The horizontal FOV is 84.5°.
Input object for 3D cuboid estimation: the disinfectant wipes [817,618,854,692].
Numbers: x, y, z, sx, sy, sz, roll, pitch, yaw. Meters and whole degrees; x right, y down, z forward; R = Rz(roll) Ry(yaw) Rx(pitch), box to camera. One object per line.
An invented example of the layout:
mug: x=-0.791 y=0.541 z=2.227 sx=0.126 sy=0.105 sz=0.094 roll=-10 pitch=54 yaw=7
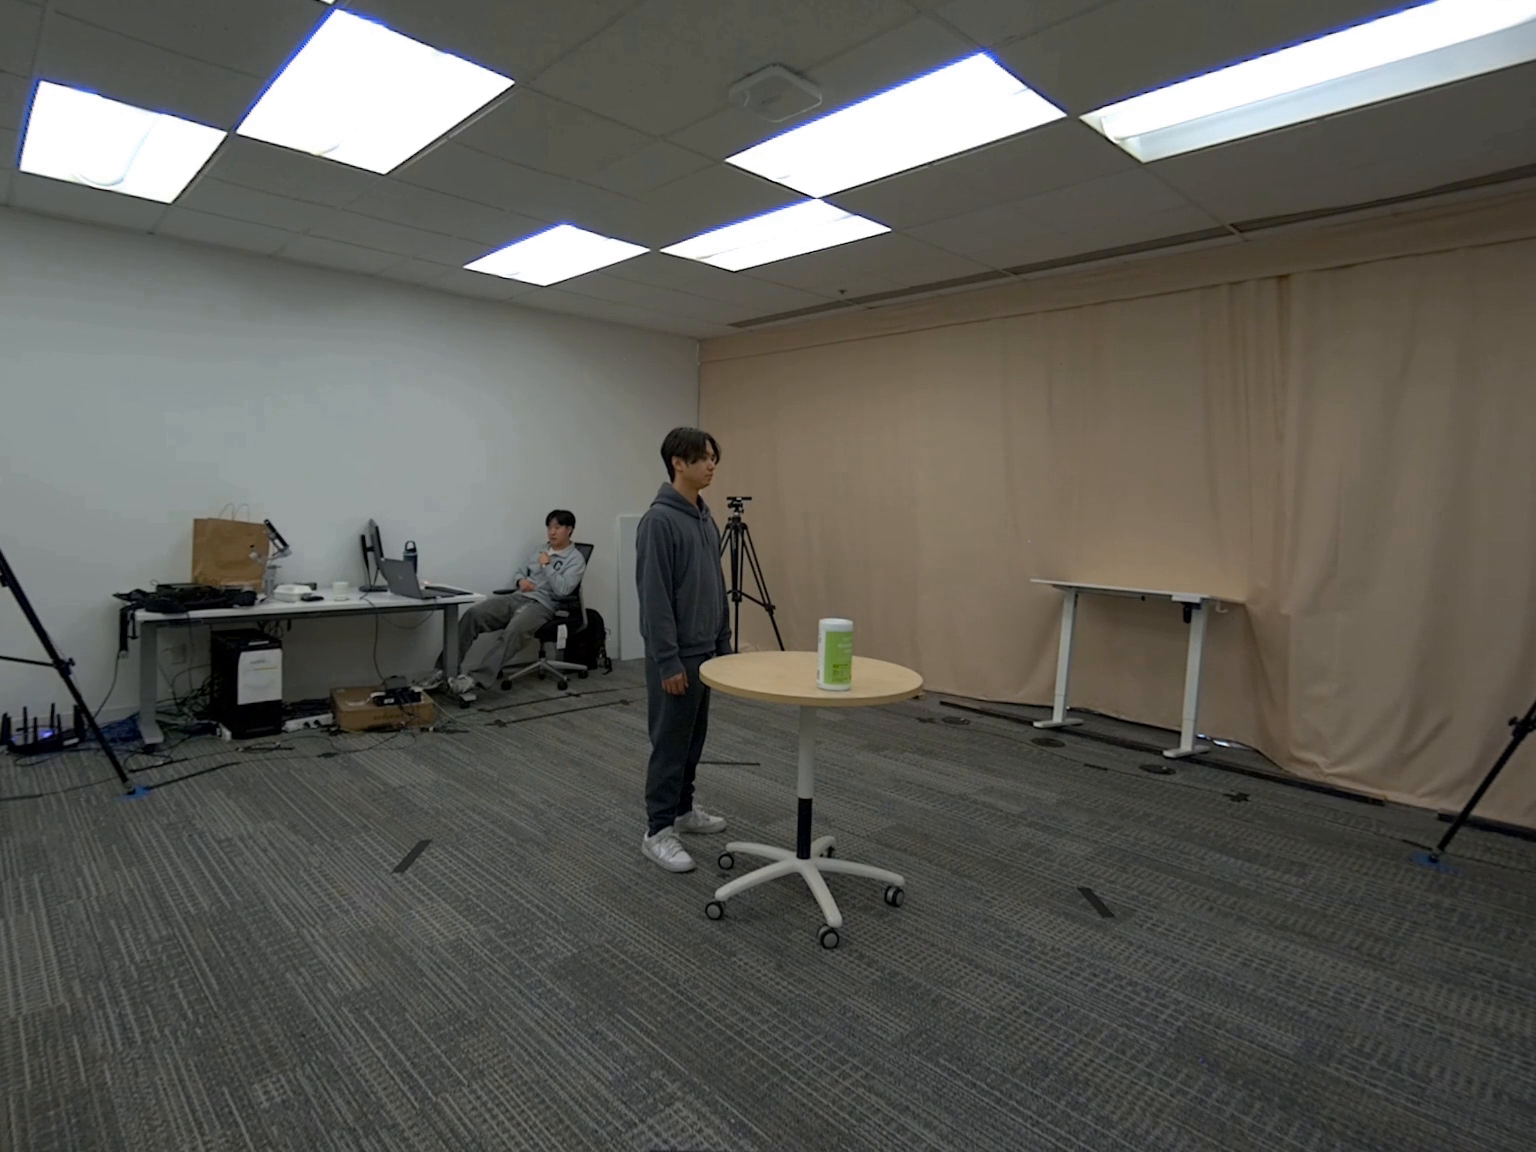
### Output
disinfectant wipes: x=0.207 y=0.251 z=2.669 sx=0.118 sy=0.217 sz=0.118 roll=3 pitch=3 yaw=-2
